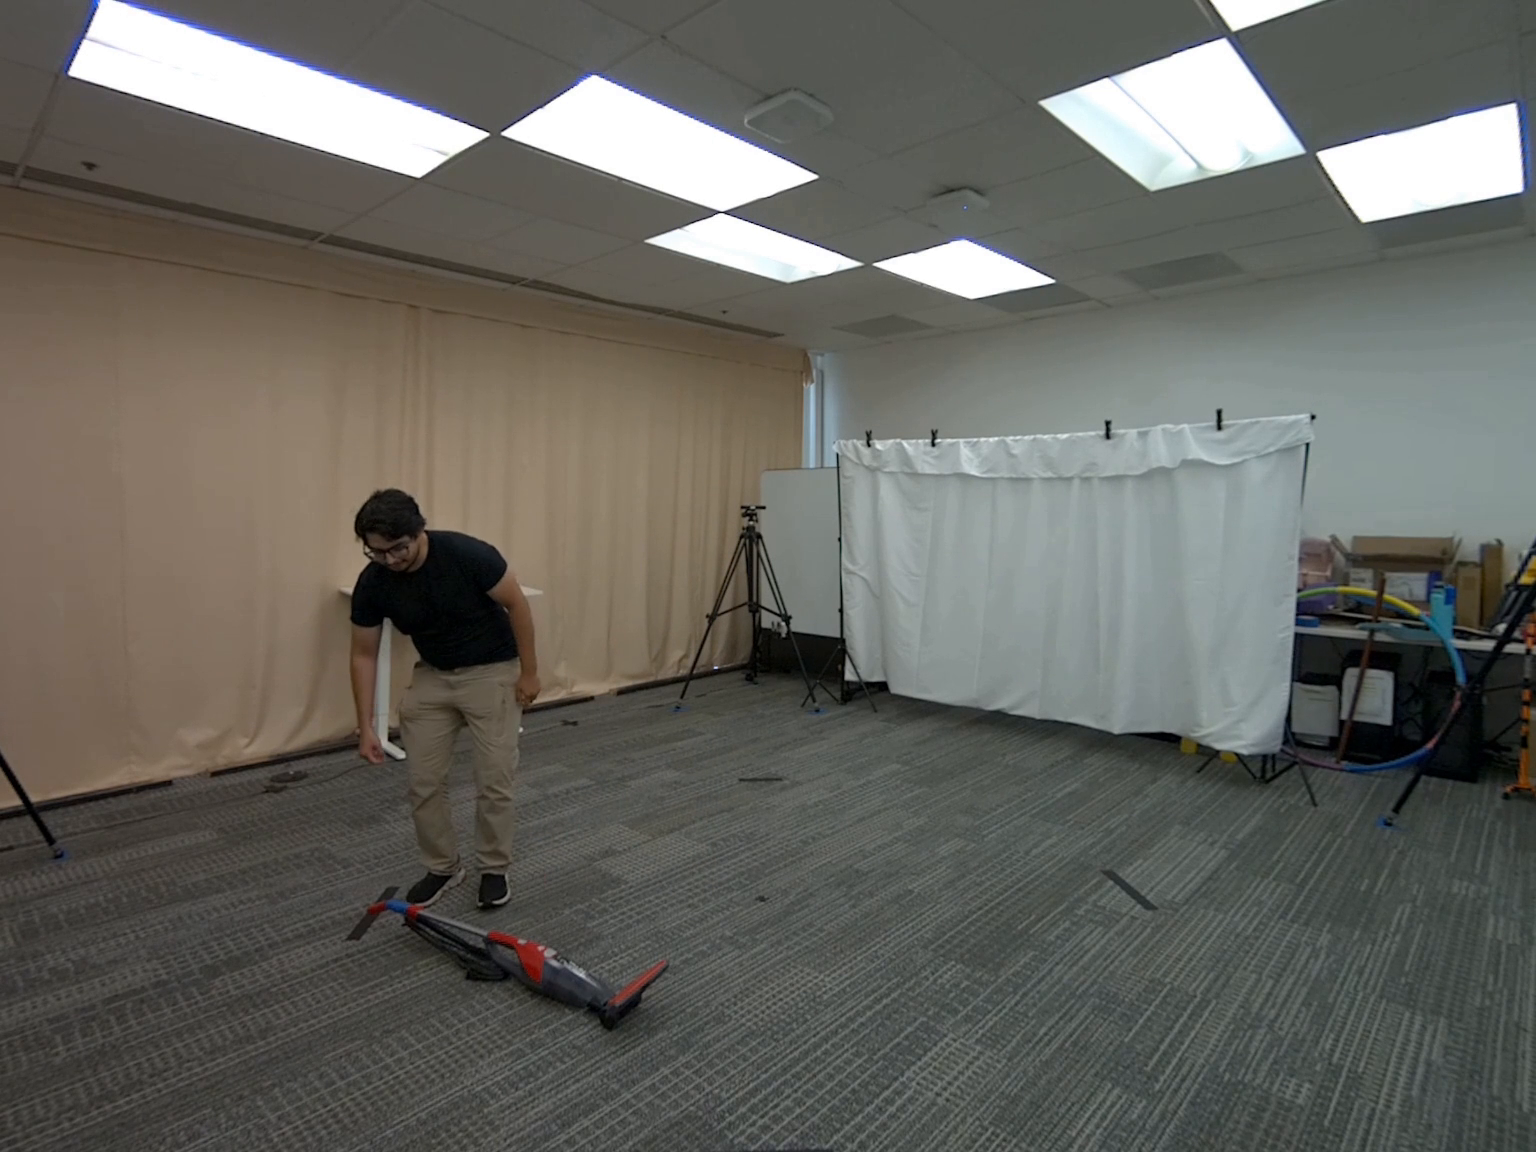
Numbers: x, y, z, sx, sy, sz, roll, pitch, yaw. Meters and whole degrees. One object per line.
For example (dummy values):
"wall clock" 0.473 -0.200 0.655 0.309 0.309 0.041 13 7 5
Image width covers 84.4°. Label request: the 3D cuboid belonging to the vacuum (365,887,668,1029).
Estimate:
"vacuum" -0.827 1.132 2.519 1.079 0.144 0.246 2 5 28
